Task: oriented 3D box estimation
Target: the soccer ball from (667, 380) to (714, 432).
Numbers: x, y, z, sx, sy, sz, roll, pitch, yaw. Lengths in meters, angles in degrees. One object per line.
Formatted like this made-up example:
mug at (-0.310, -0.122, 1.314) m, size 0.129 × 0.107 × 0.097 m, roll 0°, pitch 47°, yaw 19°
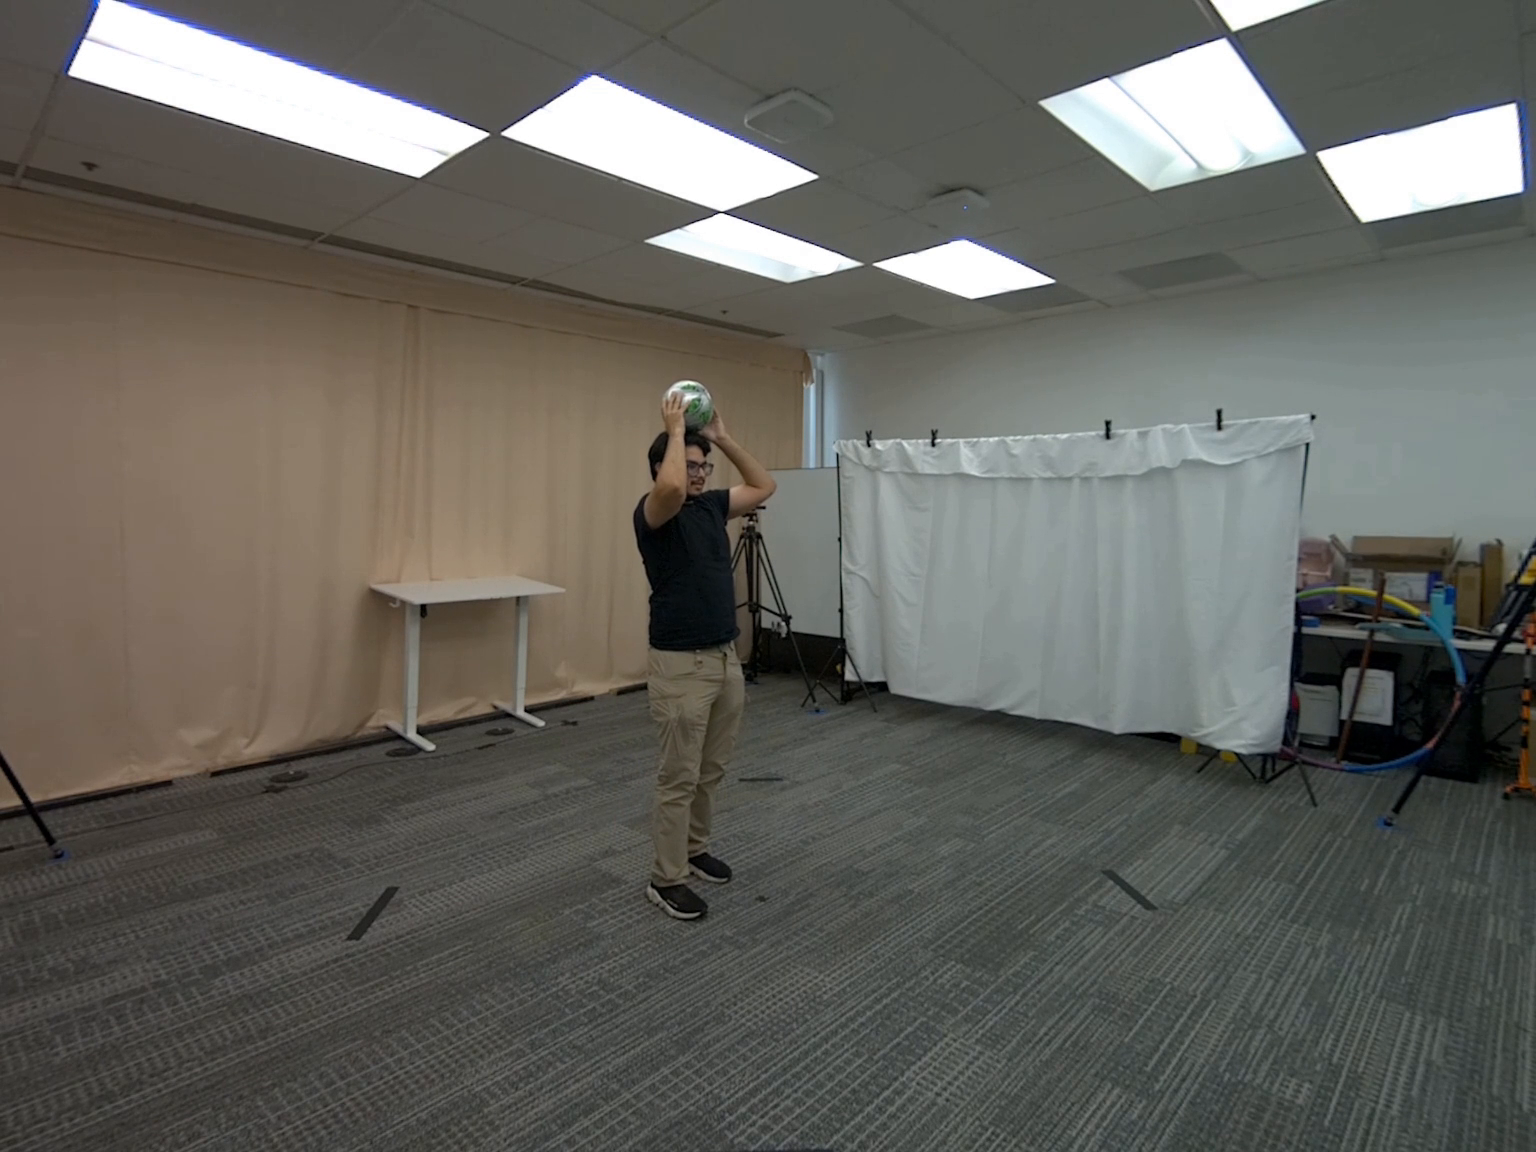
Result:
soccer ball at (-0.284, -0.590, 2.964) m, size 0.187 × 0.187 × 0.188 m, roll 0°, pitch 4°, yaw -2°
